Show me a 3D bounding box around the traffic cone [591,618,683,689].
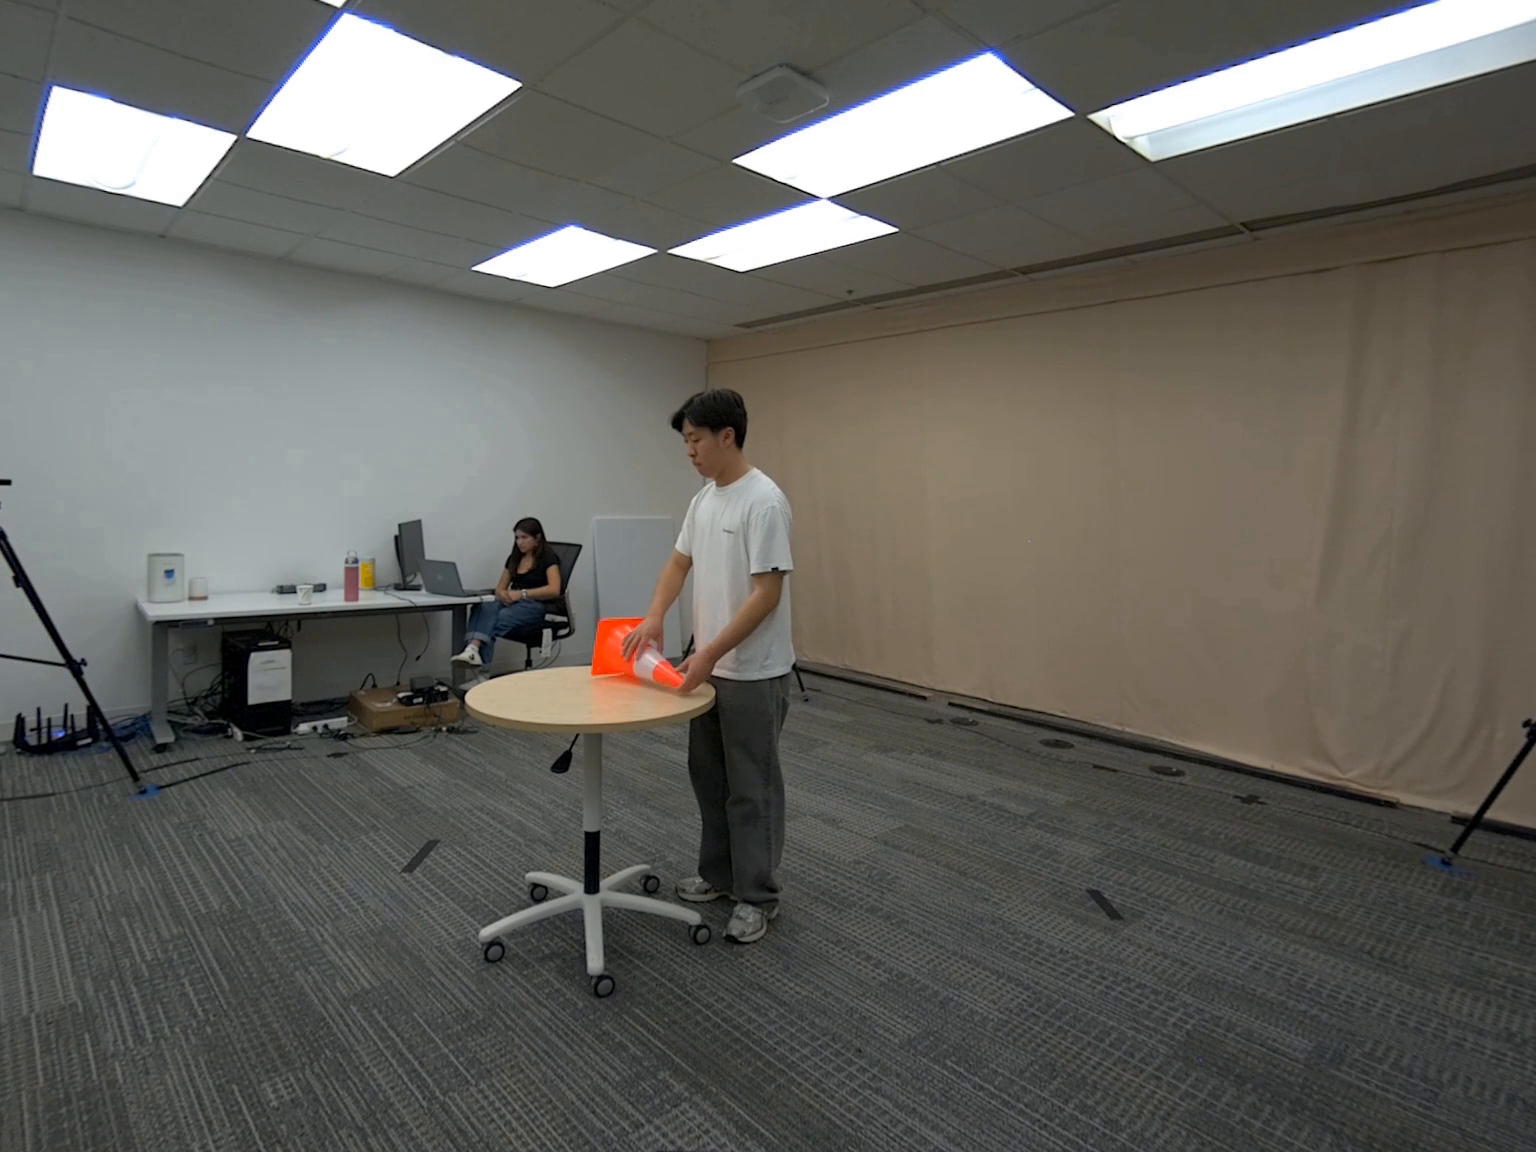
[{"bbox_3d":[-0.380,0.281,2.705,0.198,0.204,0.395,-1,14,-42],"label":"traffic cone"}]
